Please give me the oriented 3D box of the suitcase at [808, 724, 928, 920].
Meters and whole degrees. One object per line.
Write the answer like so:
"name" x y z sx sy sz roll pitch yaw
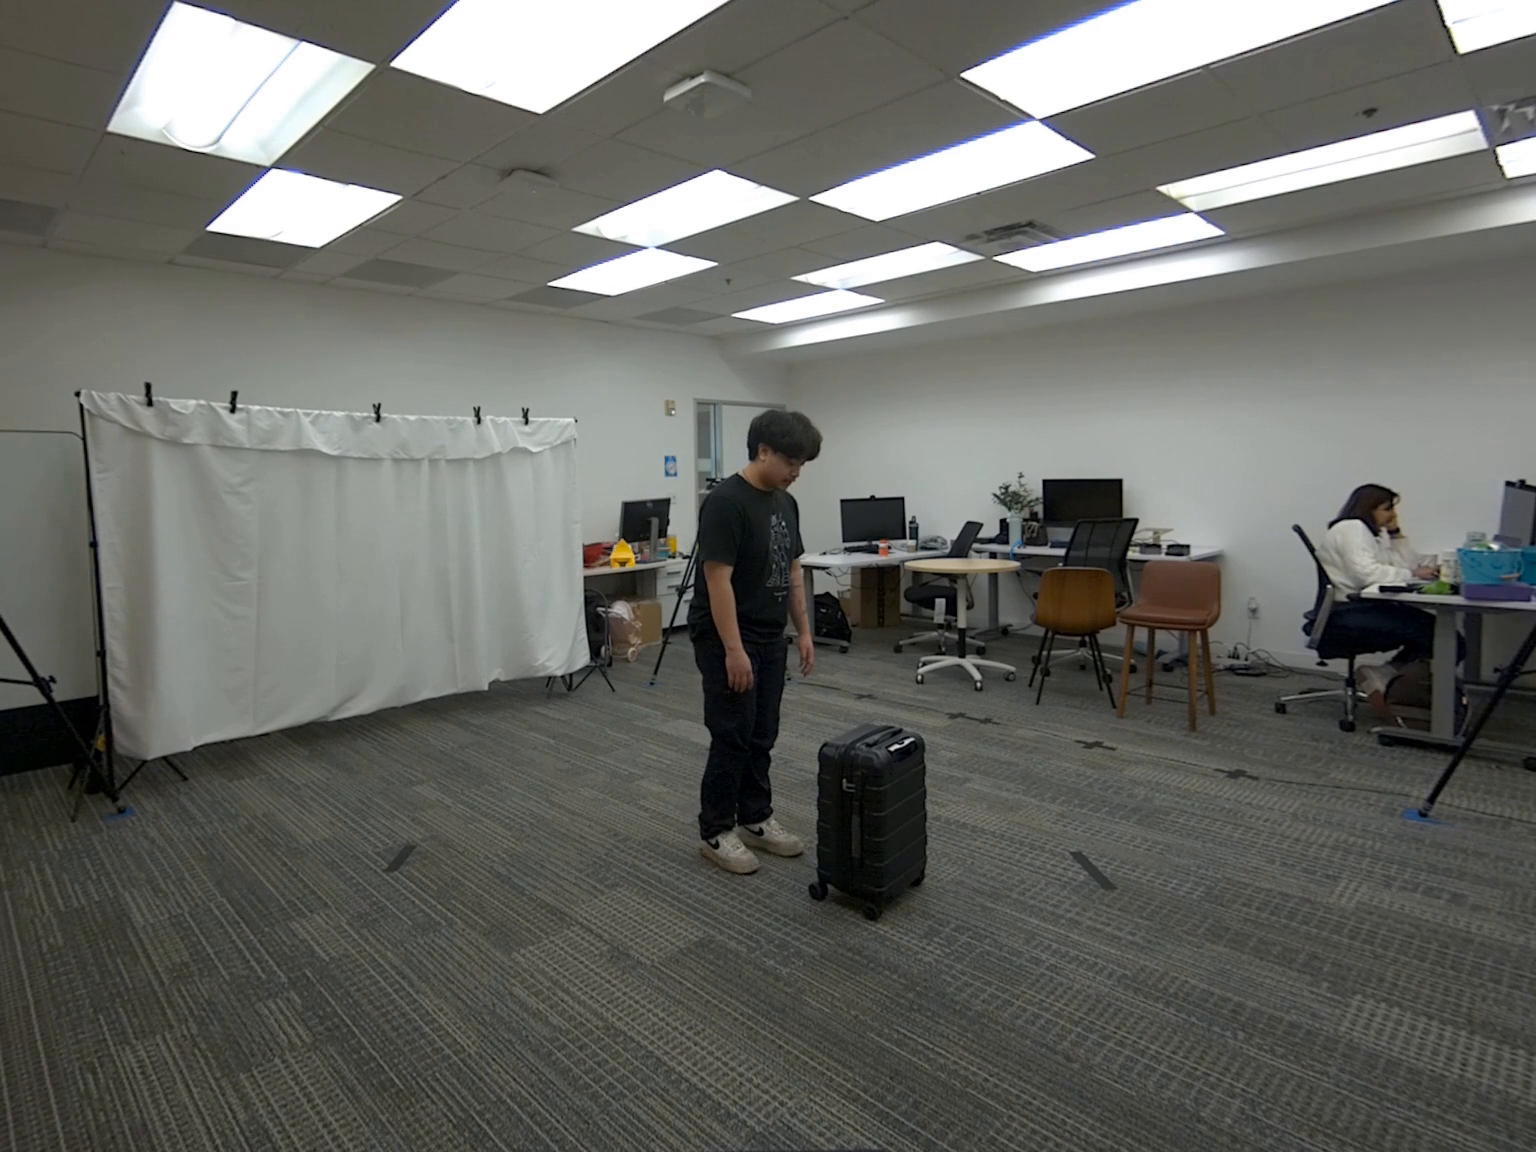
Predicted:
"suitcase" 0.353 0.791 2.845 0.256 0.547 0.366 3 6 37
